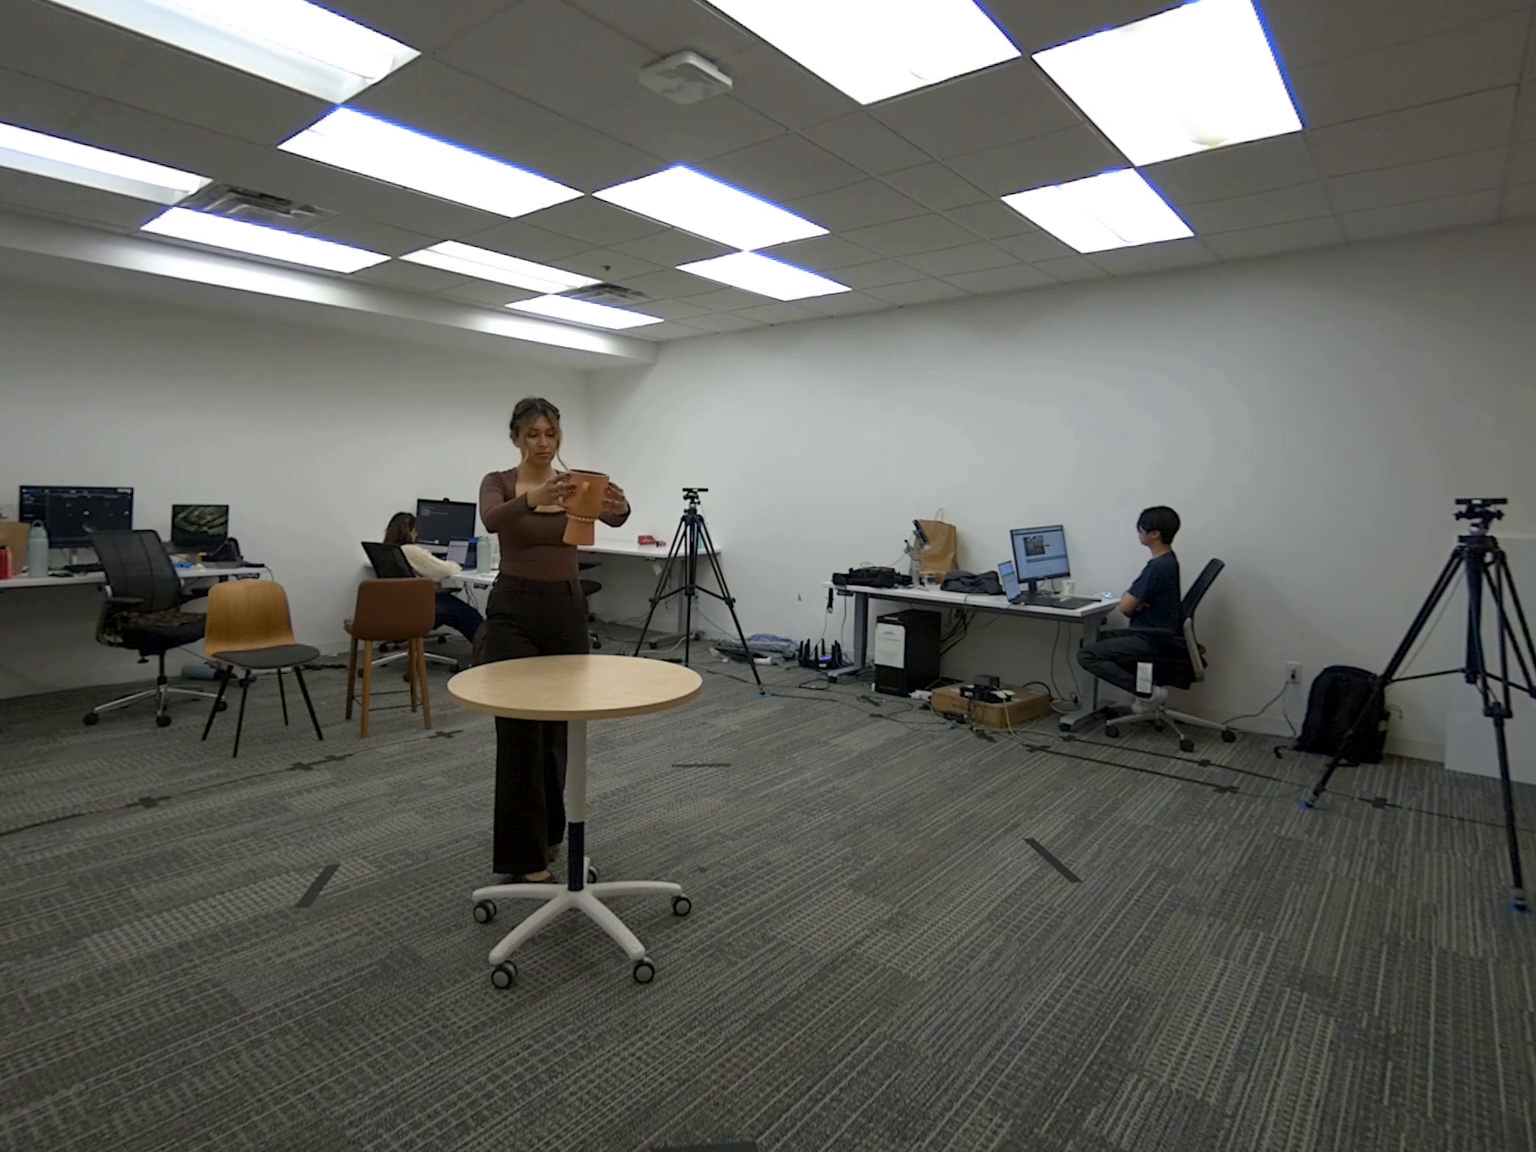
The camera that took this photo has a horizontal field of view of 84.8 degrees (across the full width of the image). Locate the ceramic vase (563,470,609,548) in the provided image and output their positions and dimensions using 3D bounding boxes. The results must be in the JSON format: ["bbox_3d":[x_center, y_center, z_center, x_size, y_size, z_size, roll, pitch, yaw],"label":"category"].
[{"bbox_3d":[-0.575,-0.209,2.599,0.139,0.218,0.155,14,11,28],"label":"ceramic vase"}]
